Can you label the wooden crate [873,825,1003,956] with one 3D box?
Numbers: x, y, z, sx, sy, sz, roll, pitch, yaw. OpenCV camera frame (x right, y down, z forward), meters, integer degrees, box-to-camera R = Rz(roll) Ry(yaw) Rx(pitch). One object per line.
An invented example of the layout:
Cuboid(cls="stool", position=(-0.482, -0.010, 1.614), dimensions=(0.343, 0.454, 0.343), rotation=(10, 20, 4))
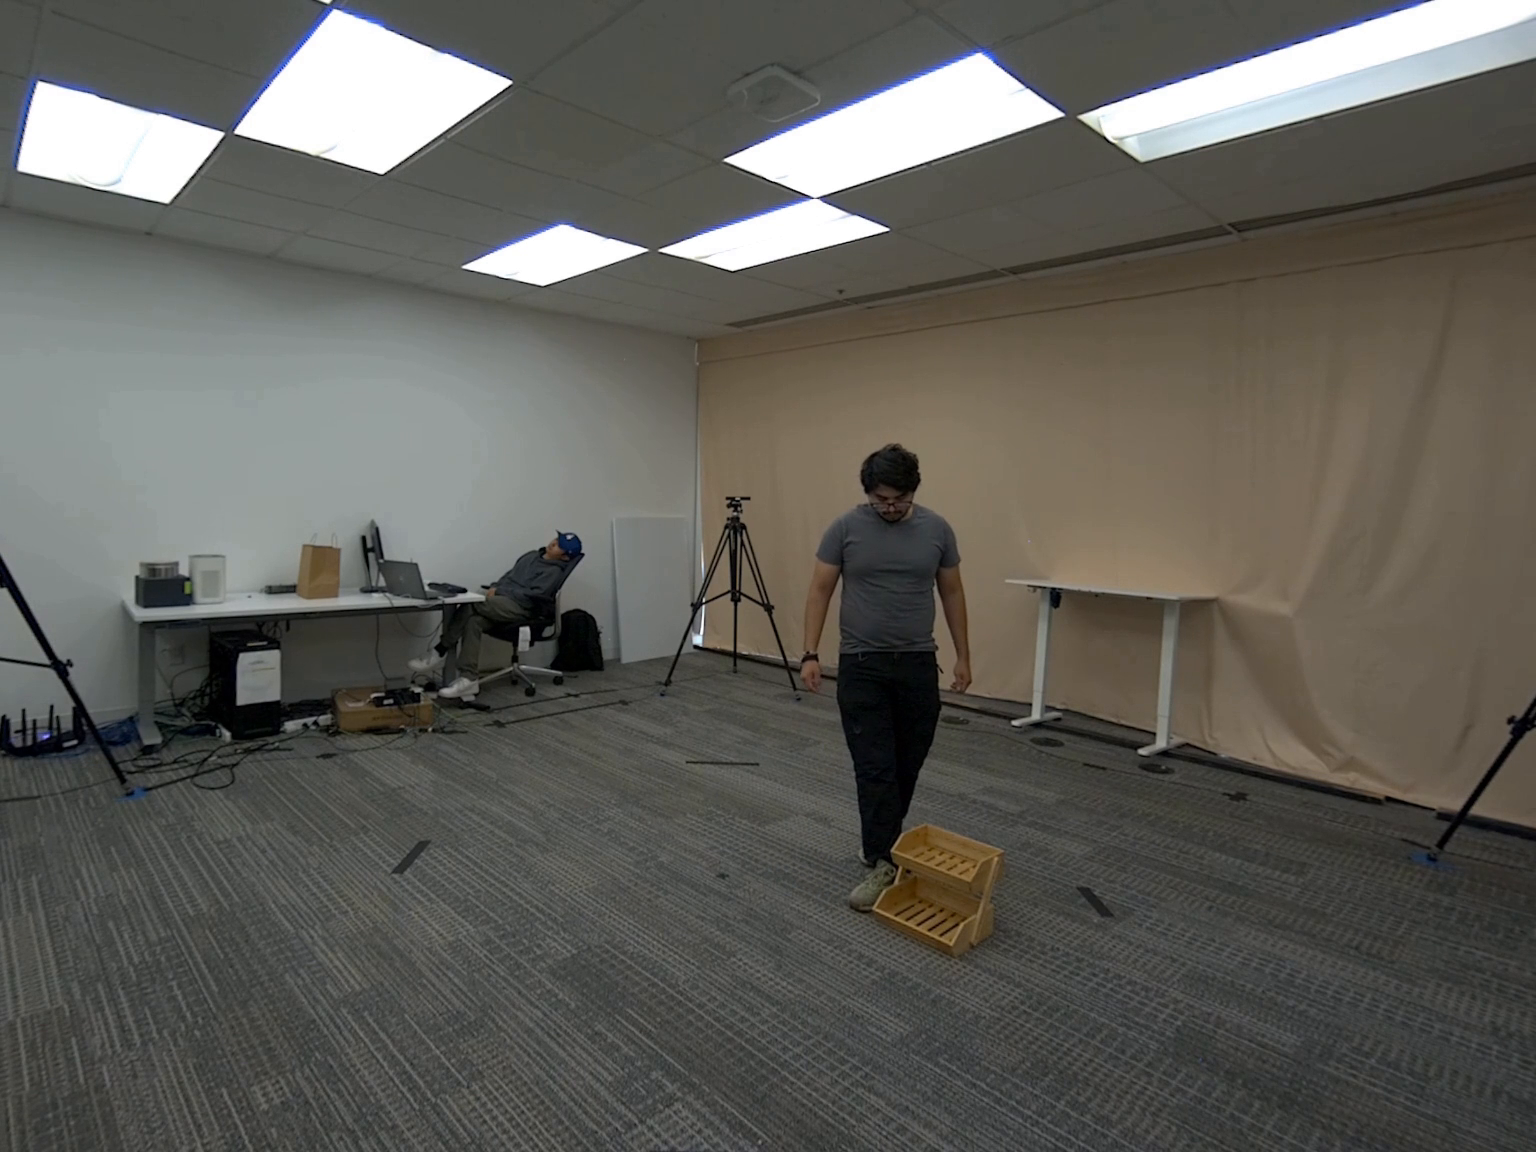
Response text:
Cuboid(cls="wooden crate", position=(0.547, 1.021, 2.770), dimensions=(0.333, 0.273, 0.295), rotation=(5, 5, 44))
